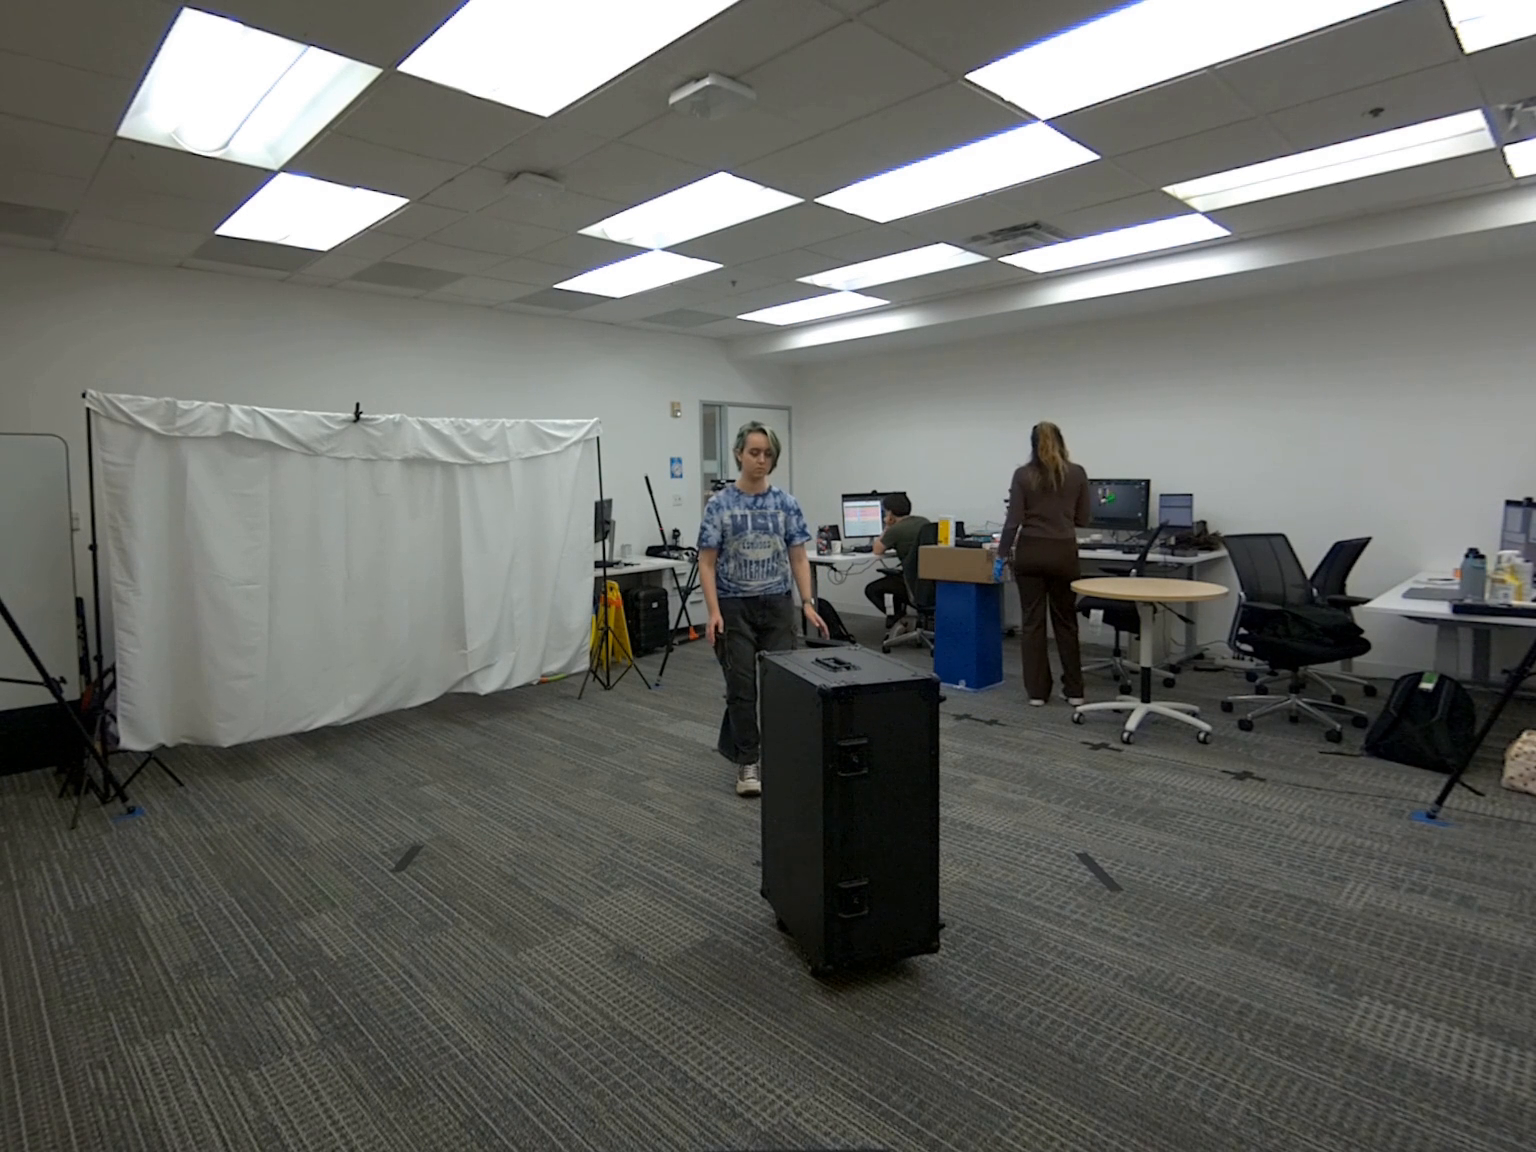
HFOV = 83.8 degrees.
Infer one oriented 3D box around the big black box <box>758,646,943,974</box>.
[{"bbox_3d":[0.235,0.684,2.543,0.389,0.858,0.532,-1,5,-20],"label":"big black box"}]
